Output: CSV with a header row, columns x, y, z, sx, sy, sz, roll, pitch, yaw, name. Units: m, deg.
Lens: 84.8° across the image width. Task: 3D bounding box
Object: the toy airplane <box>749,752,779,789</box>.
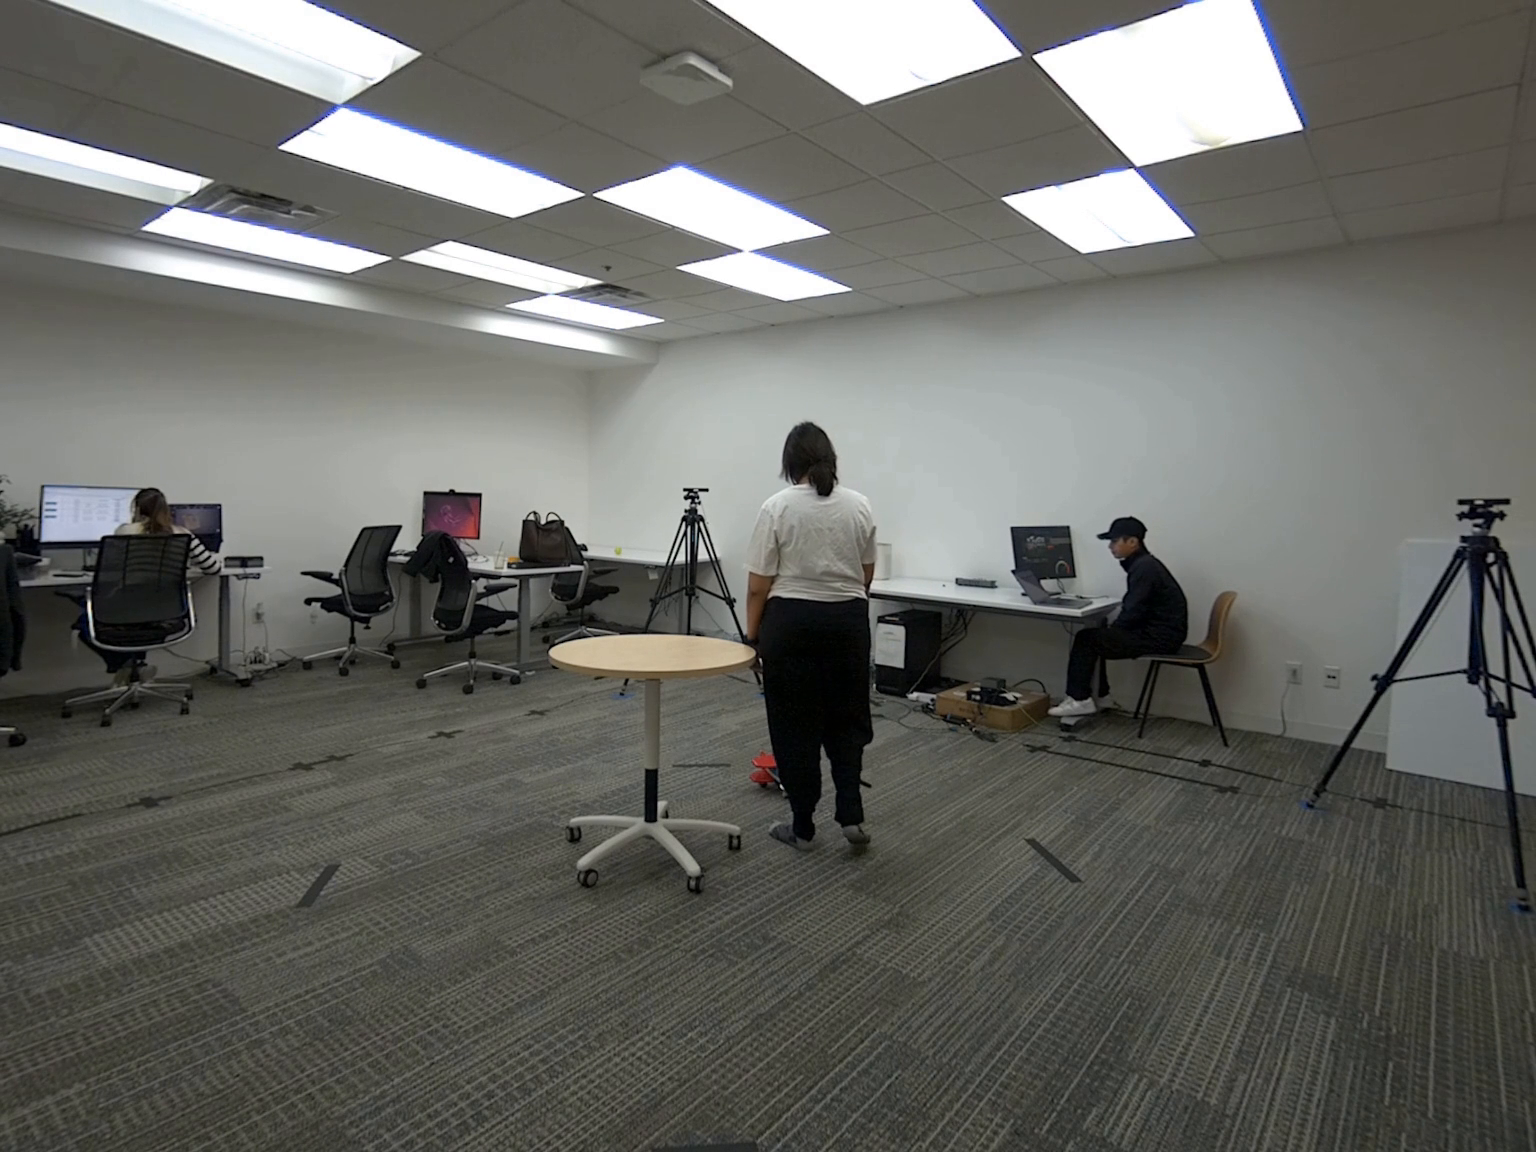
x,y,z,sx,sy,sz,roll,pitch,yaw,name
0.060,0.919,3.961,0.267,0.156,0.244,3,4,35,toy airplane
